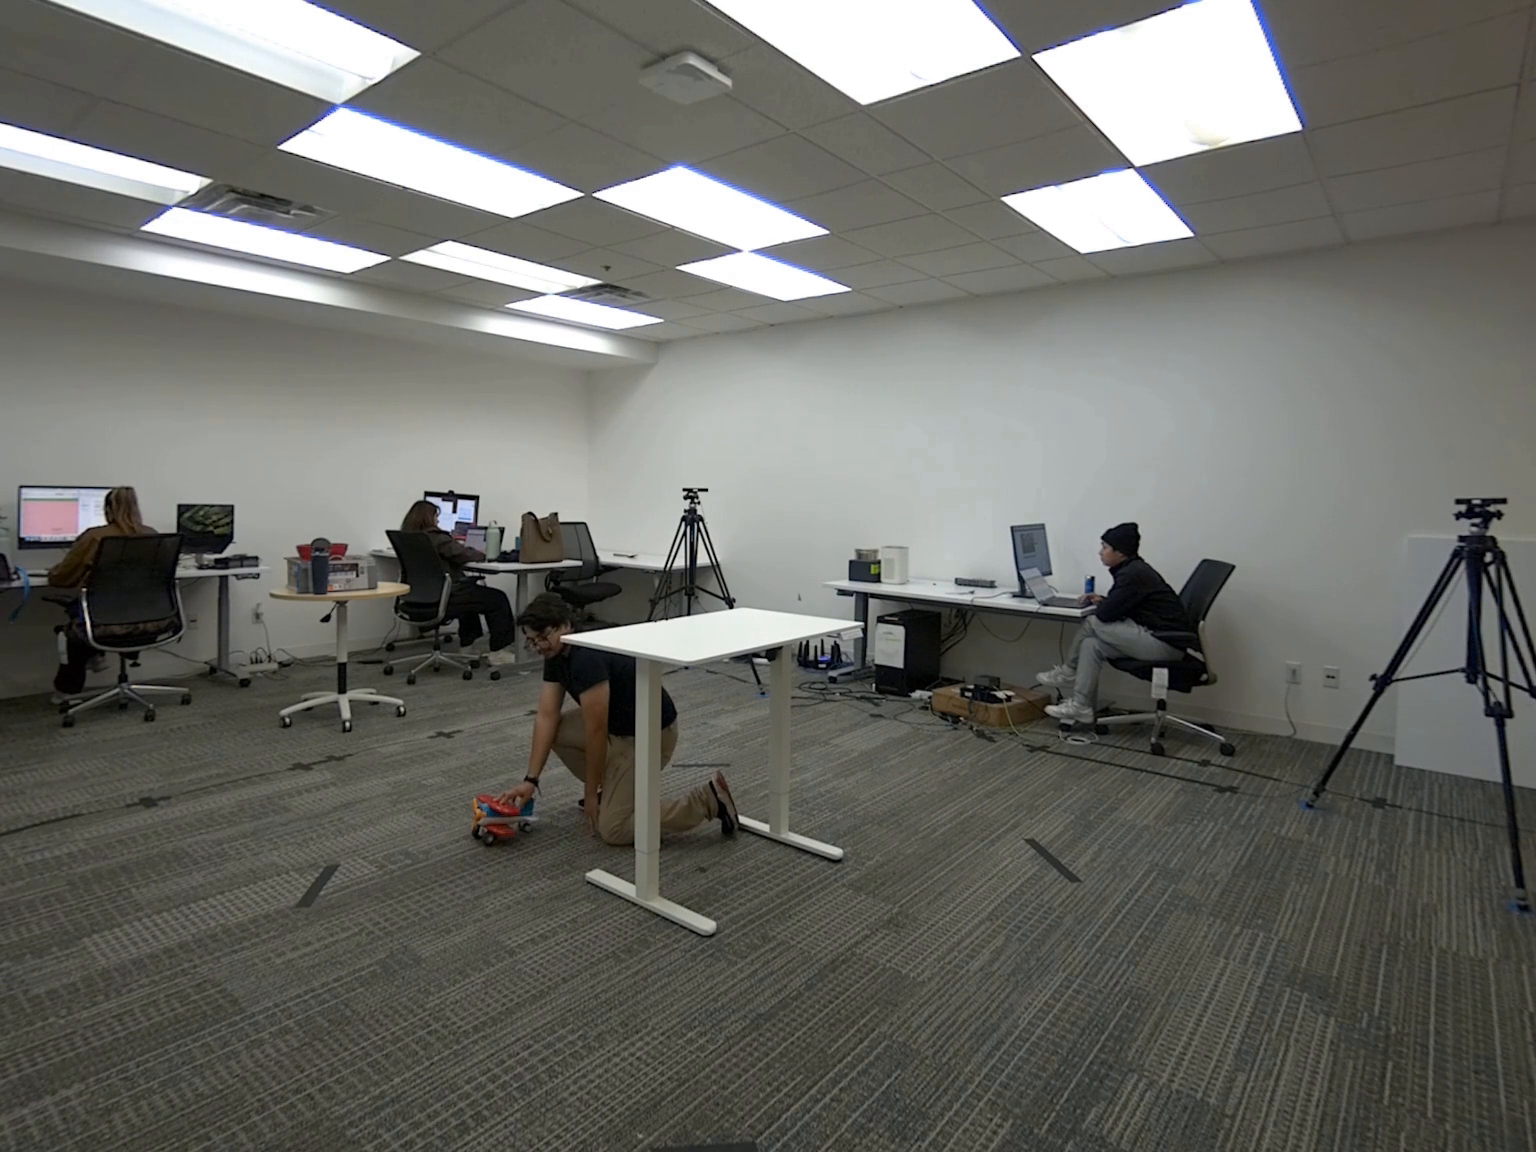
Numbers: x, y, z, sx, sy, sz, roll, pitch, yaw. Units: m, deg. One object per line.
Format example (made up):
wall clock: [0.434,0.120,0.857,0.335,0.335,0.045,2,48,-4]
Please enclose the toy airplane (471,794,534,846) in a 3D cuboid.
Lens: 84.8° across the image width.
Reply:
toy airplane: [-1.077,0.958,3.389,0.256,0.156,0.256,2,6,16]
